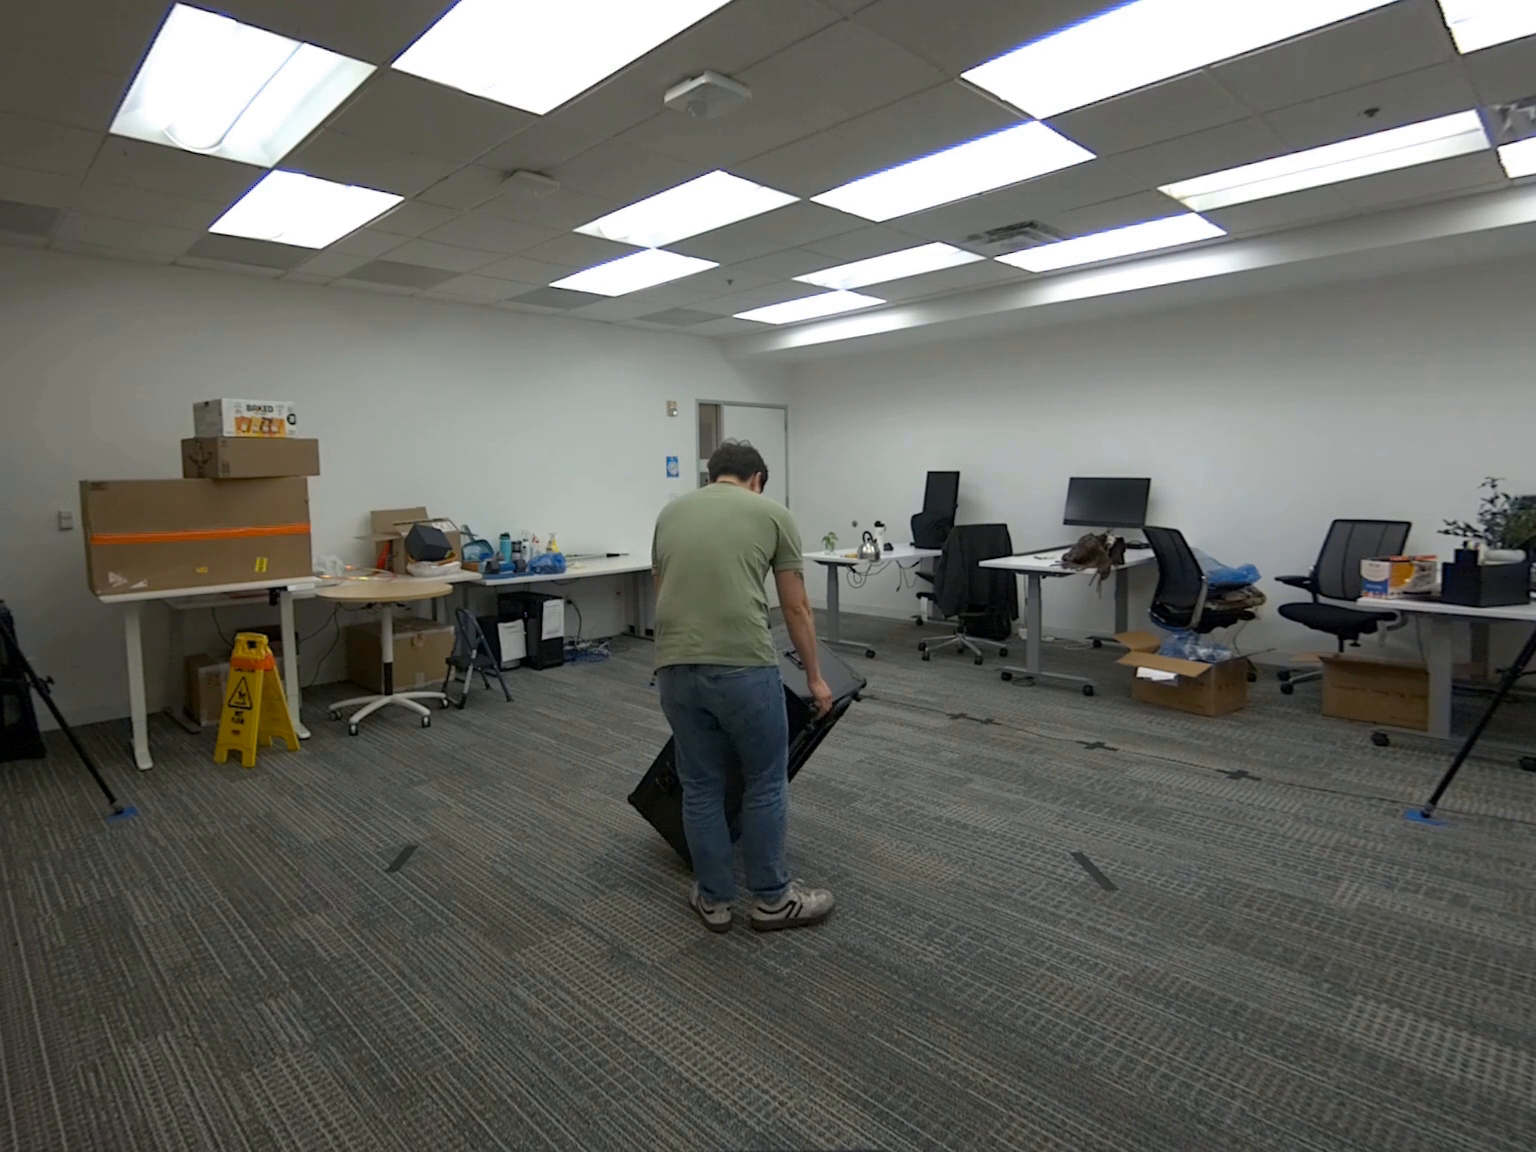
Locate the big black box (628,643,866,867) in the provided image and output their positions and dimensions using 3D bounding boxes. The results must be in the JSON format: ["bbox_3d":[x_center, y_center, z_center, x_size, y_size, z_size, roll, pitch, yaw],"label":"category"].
[{"bbox_3d":[-0.078,0.638,3.136,0.406,0.858,0.510,42,21,19],"label":"big black box"}]
